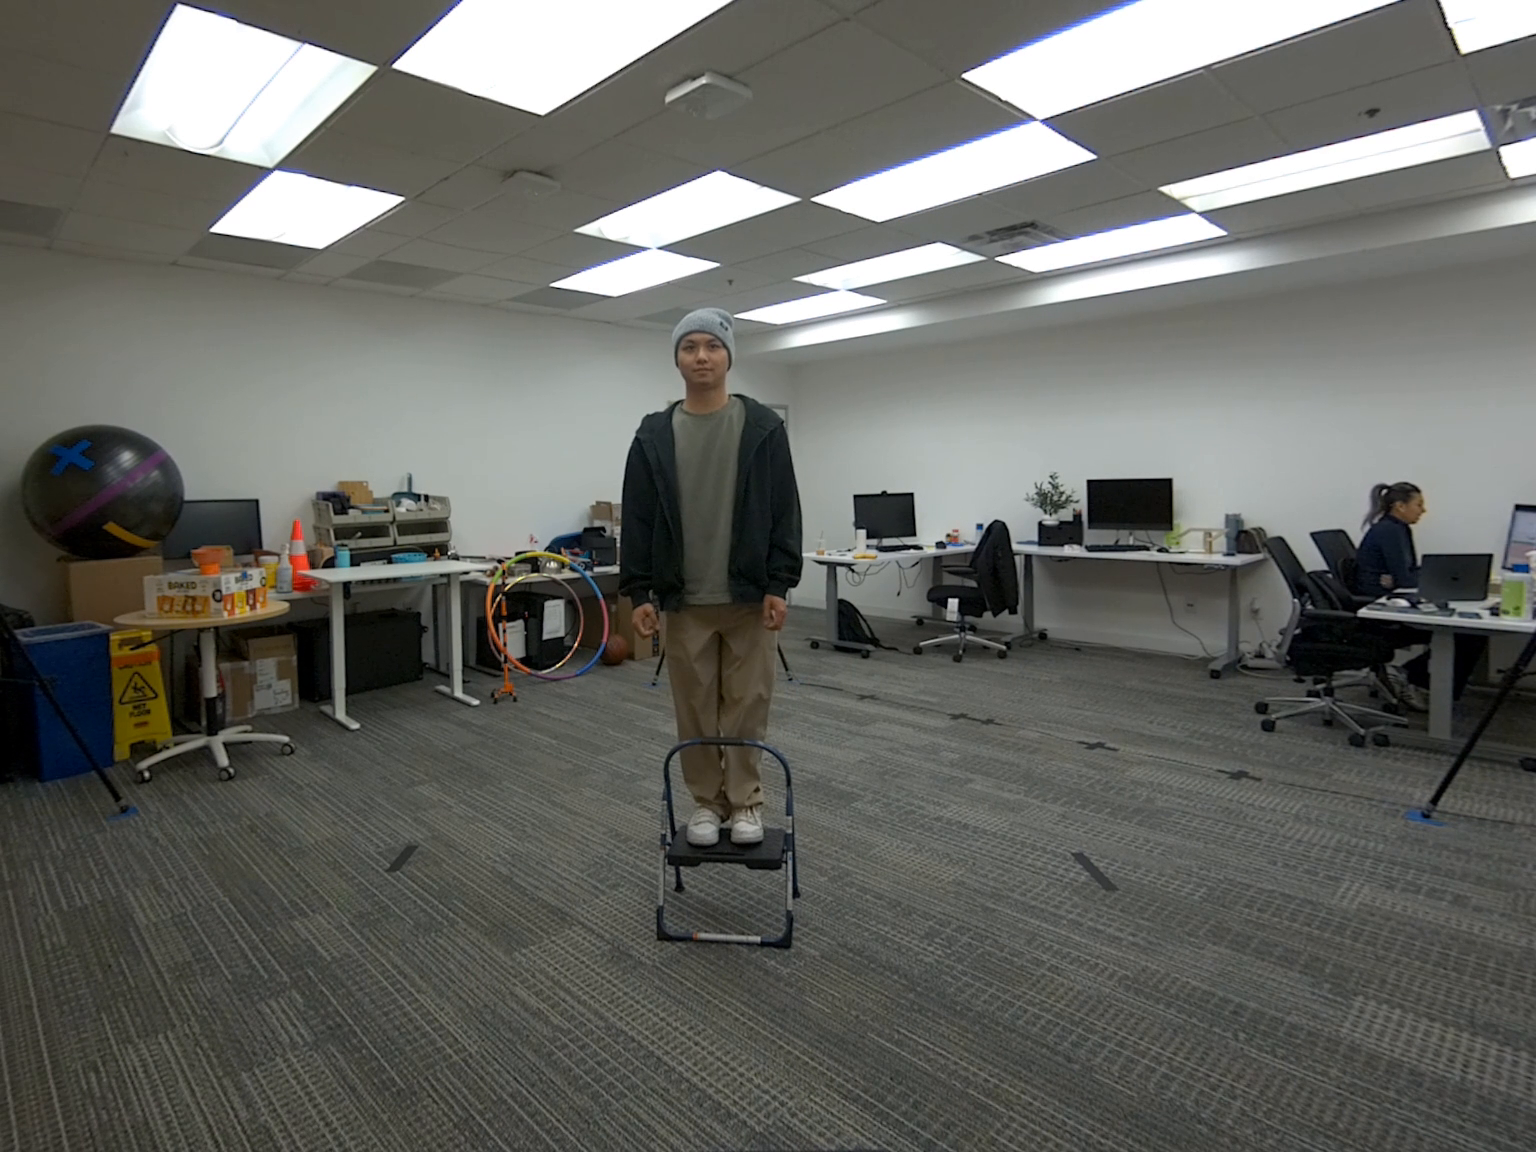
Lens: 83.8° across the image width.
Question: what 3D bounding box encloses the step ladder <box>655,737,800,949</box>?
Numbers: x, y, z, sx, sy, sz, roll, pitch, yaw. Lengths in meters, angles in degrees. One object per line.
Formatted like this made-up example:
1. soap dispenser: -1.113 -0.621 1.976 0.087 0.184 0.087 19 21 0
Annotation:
1. step ladder: -0.121 0.796 2.716 0.434 0.604 0.348 0 4 6
